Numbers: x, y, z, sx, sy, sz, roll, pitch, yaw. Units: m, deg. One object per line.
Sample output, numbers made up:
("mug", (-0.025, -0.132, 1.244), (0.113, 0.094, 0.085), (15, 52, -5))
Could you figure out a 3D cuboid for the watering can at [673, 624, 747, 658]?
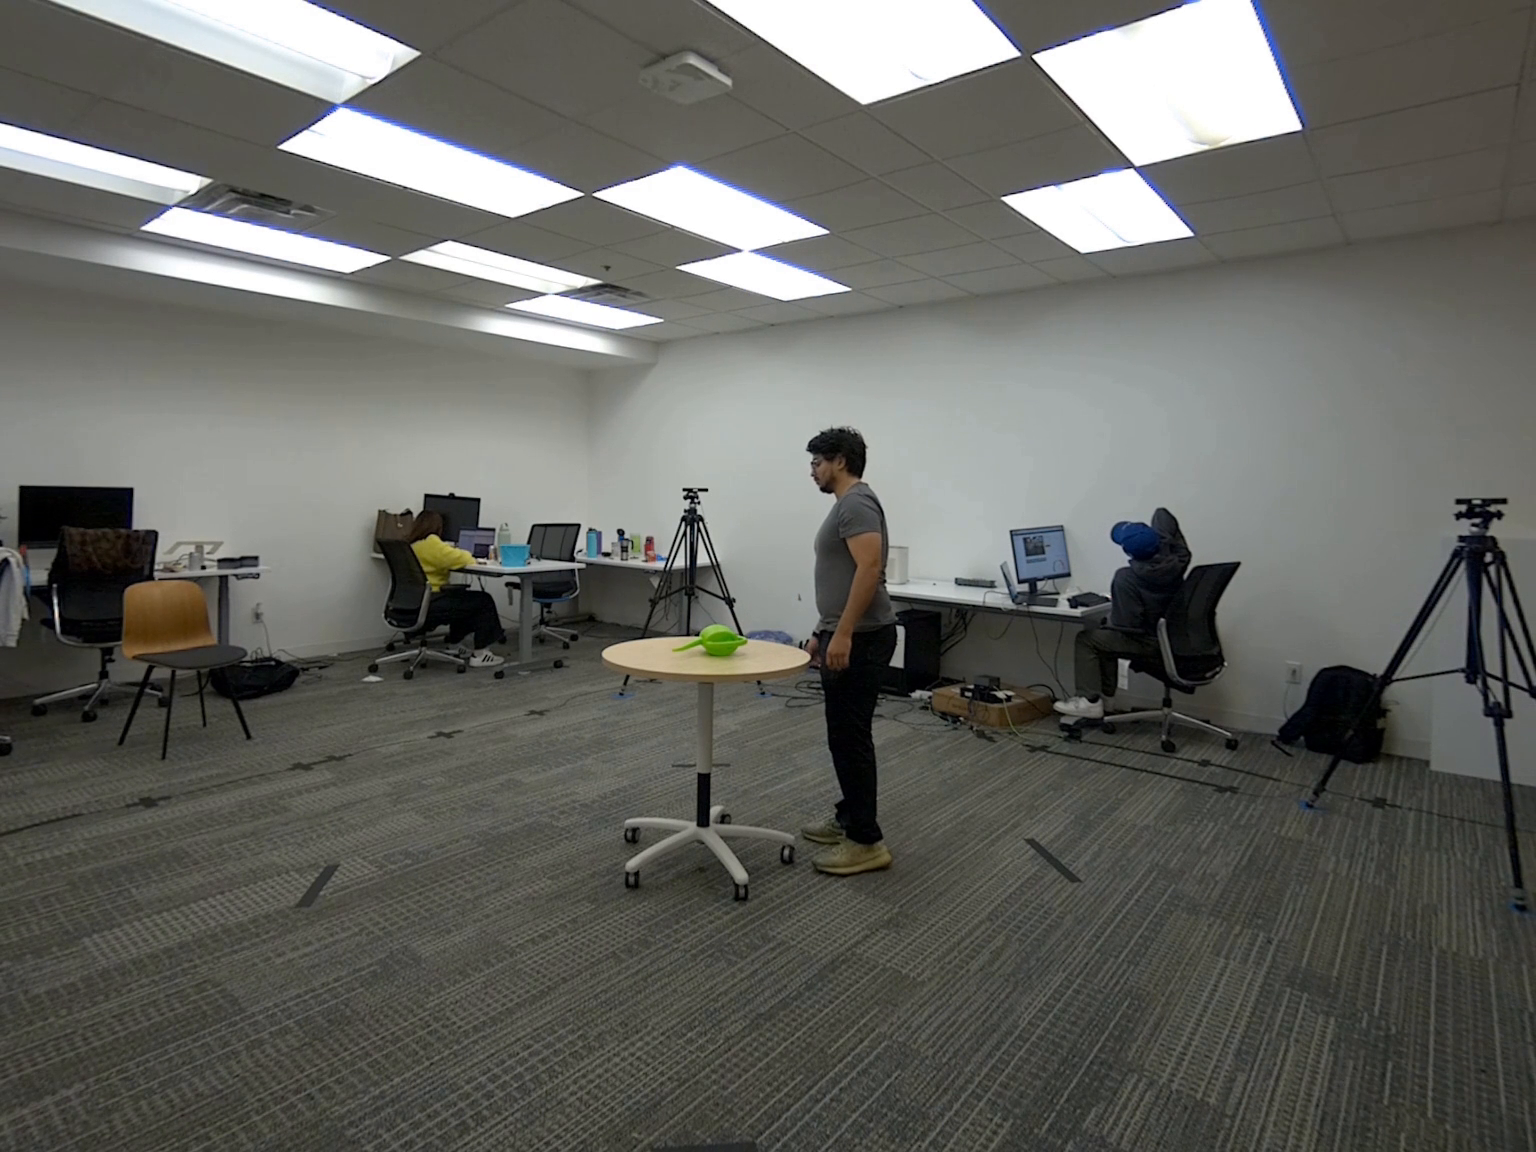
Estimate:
("watering can", (-0.229, 0.233, 3.124), (0.275, 0.098, 0.179), (8, 2, -11))
